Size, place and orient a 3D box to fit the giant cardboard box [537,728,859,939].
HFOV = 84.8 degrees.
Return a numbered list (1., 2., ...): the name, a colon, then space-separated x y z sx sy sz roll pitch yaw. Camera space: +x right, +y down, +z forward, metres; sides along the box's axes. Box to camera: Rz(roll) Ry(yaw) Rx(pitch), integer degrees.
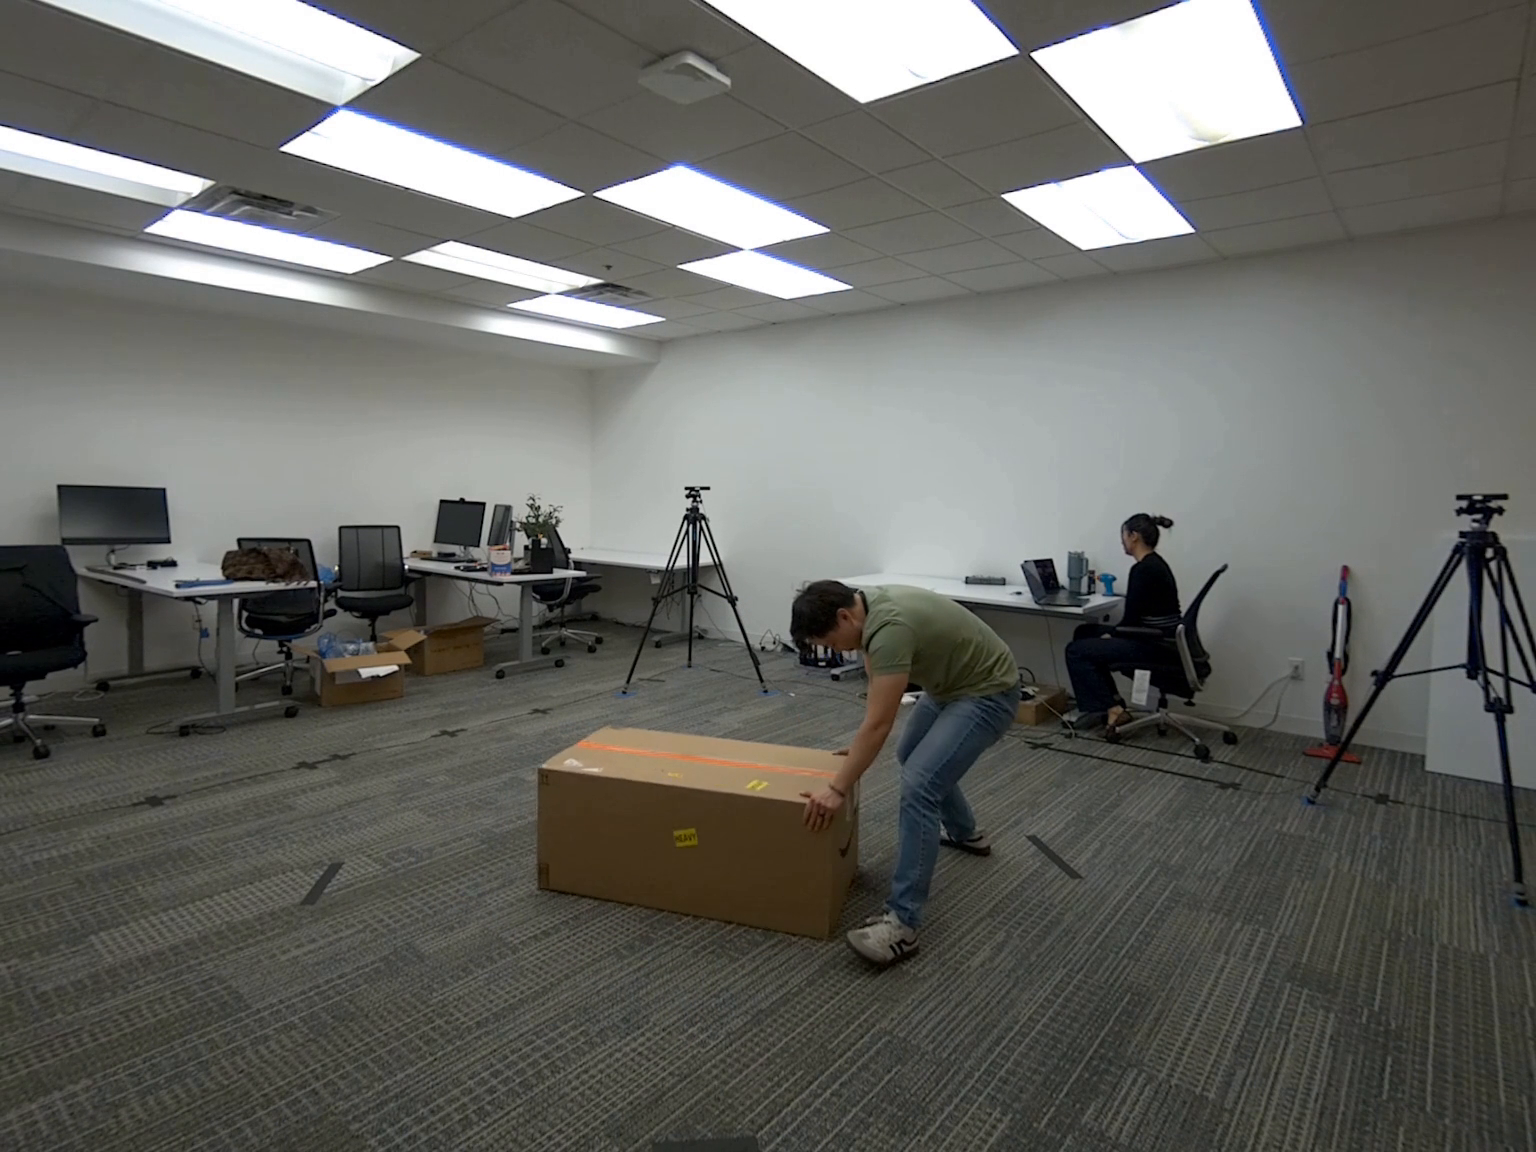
1. giant cardboard box: -0.240 0.858 3.029 1.045 0.424 0.569 3 6 17
